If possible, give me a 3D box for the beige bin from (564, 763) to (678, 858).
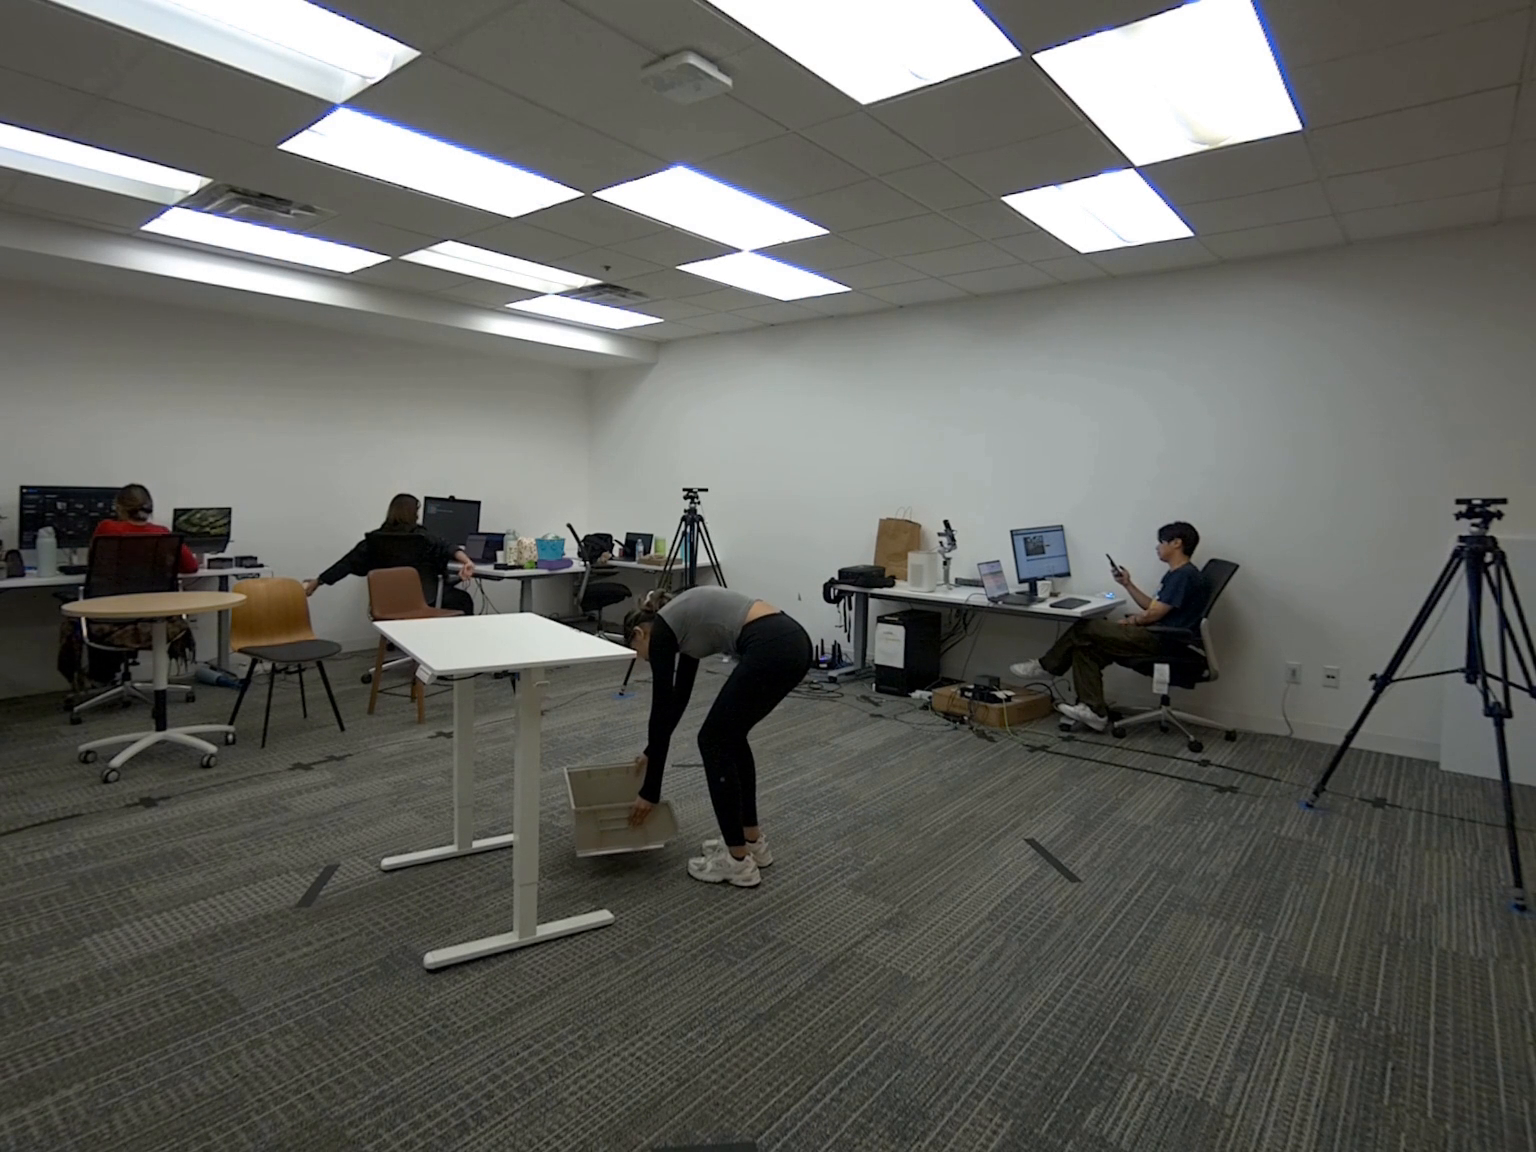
[{"bbox_3d":[-0.565,0.866,3.203,0.372,0.188,0.431,-3,8,-15],"label":"beige bin"}]
